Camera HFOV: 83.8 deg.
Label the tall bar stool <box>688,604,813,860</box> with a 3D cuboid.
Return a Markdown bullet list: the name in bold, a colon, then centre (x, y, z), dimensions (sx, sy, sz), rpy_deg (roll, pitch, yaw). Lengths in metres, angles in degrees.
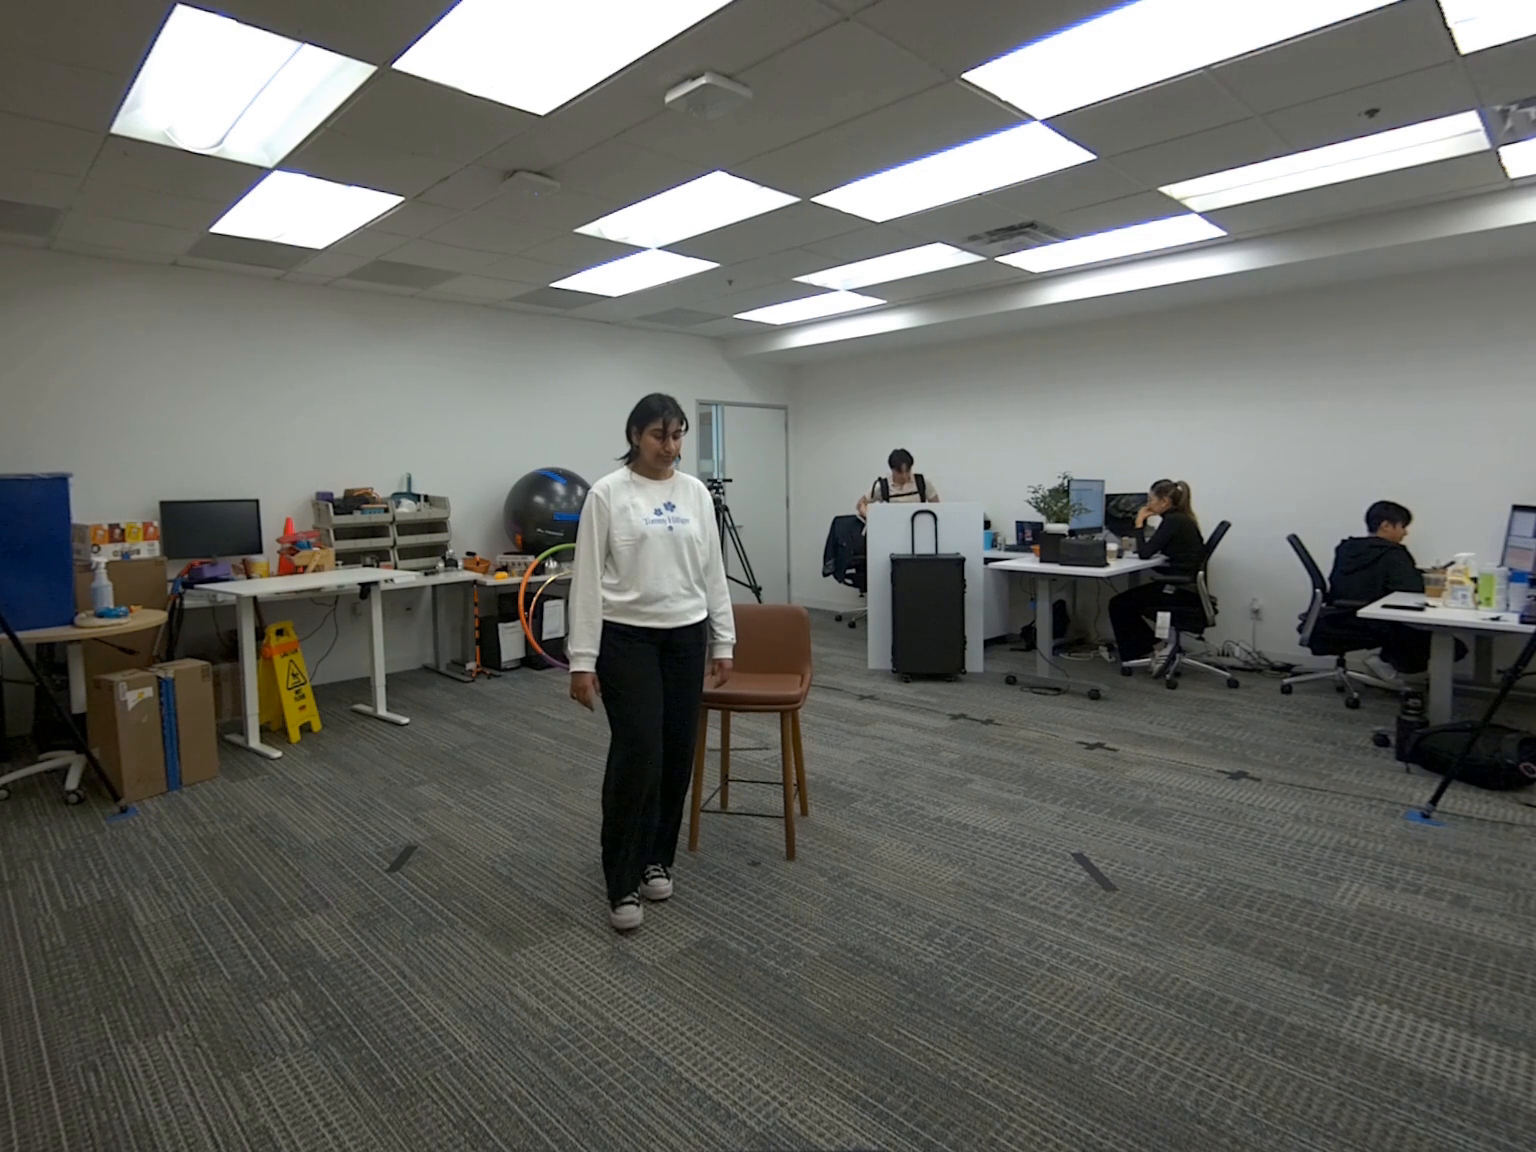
- **tall bar stool**: centre (-0.061, 0.581, 3.369), dimensions (0.463, 0.888, 0.462), rpy_deg (0, 2, 15)
